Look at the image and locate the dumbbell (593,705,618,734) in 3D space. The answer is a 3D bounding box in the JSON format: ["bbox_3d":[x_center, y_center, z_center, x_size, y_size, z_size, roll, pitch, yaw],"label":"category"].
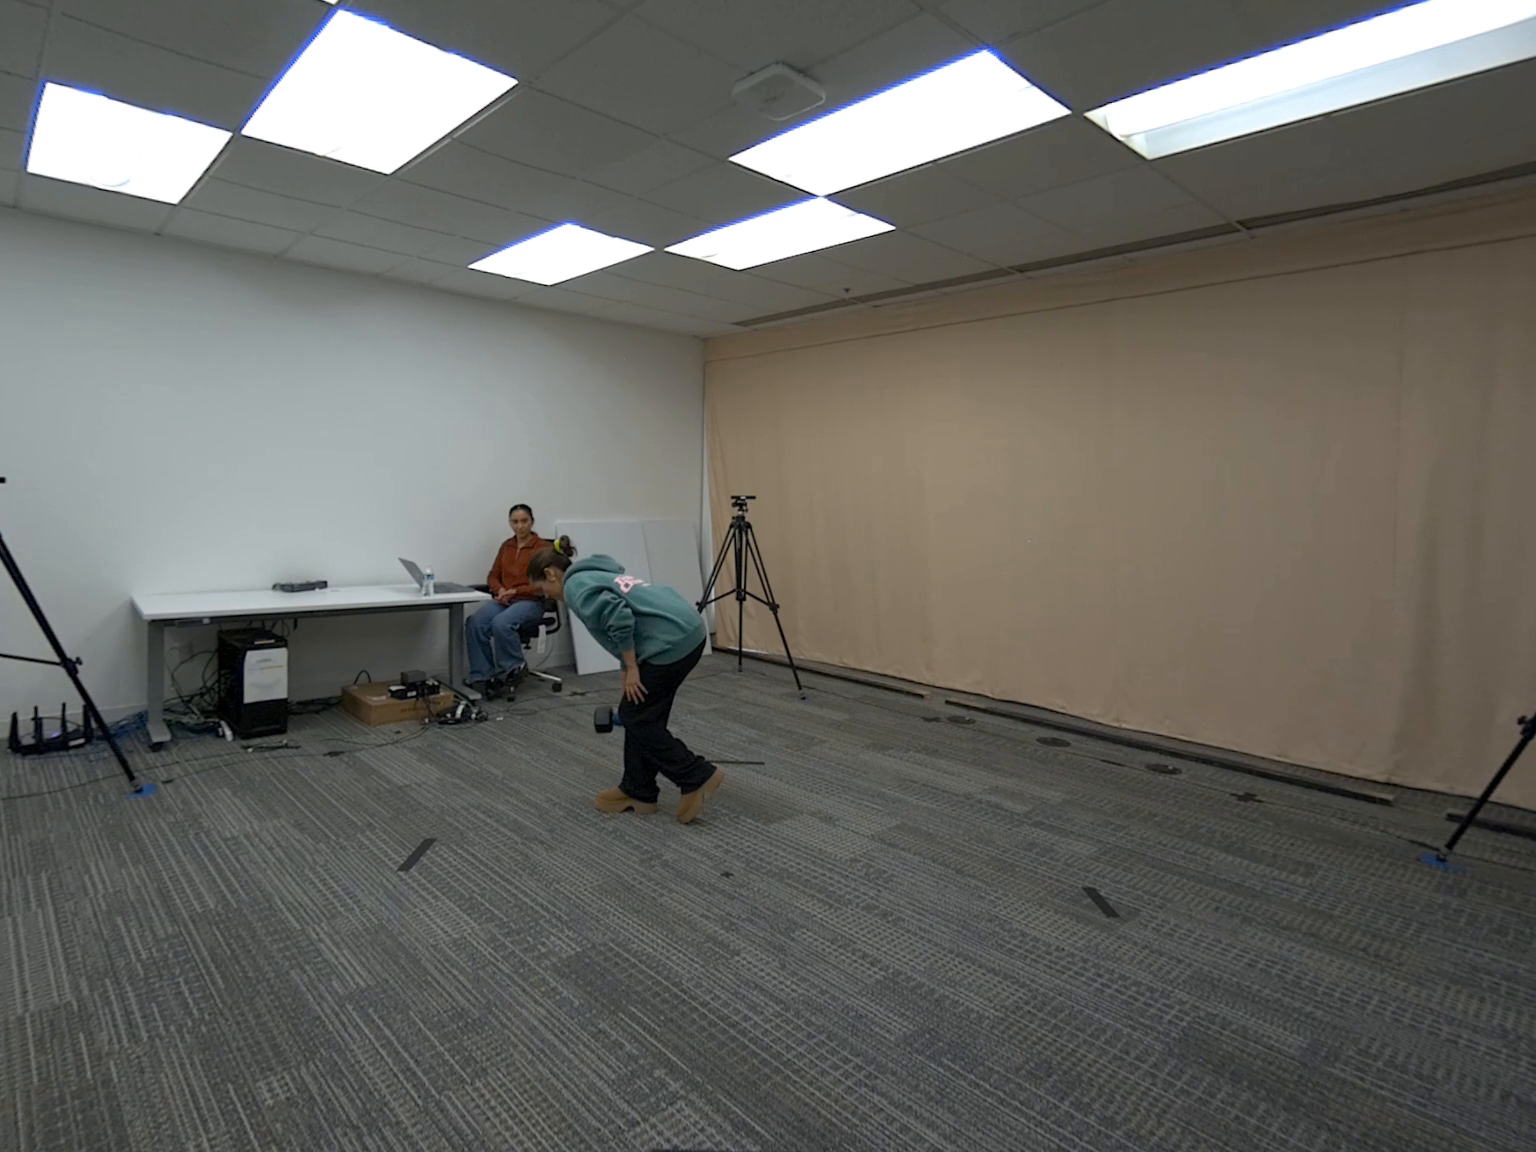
[{"bbox_3d":[-0.658,0.652,3.866,0.293,0.125,0.107,0,-22,0],"label":"dumbbell"}]
